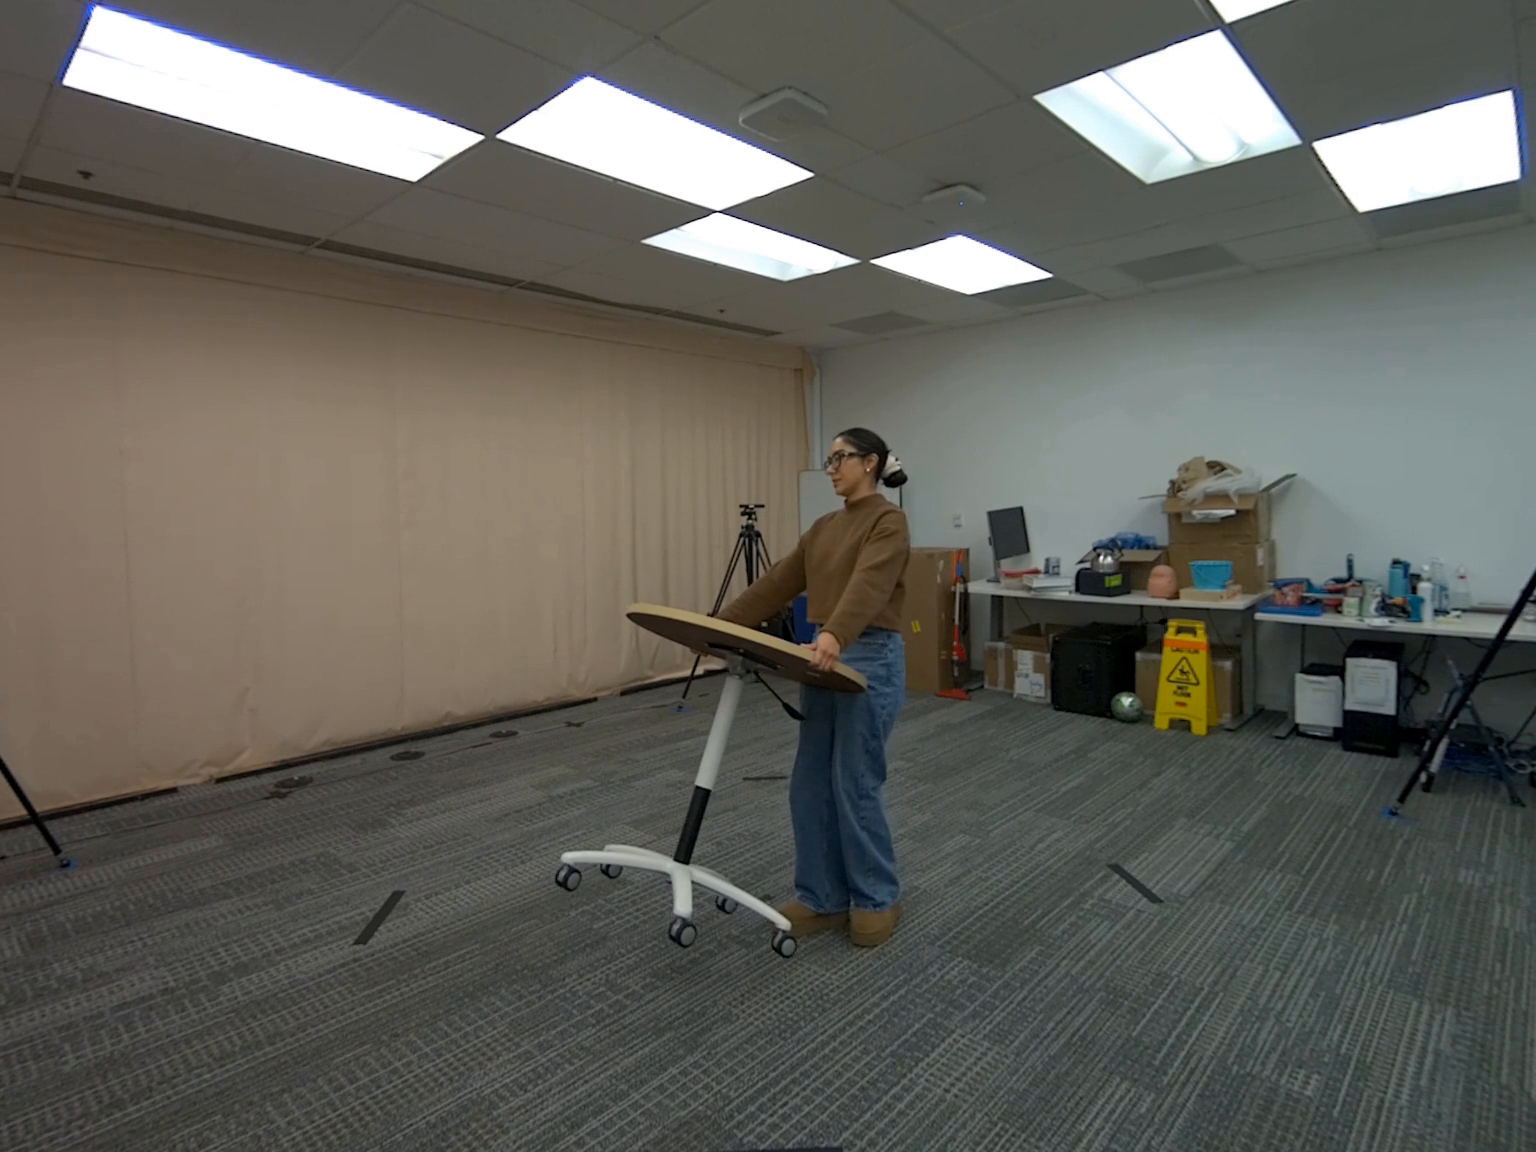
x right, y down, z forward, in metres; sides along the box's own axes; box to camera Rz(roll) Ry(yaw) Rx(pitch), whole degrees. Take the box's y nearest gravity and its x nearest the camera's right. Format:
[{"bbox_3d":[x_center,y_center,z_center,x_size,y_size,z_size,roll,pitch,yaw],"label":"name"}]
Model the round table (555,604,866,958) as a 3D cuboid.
[{"bbox_3d":[-0.181,0.596,2.484,0.788,0.789,0.780,16,-12,2],"label":"round table"}]
